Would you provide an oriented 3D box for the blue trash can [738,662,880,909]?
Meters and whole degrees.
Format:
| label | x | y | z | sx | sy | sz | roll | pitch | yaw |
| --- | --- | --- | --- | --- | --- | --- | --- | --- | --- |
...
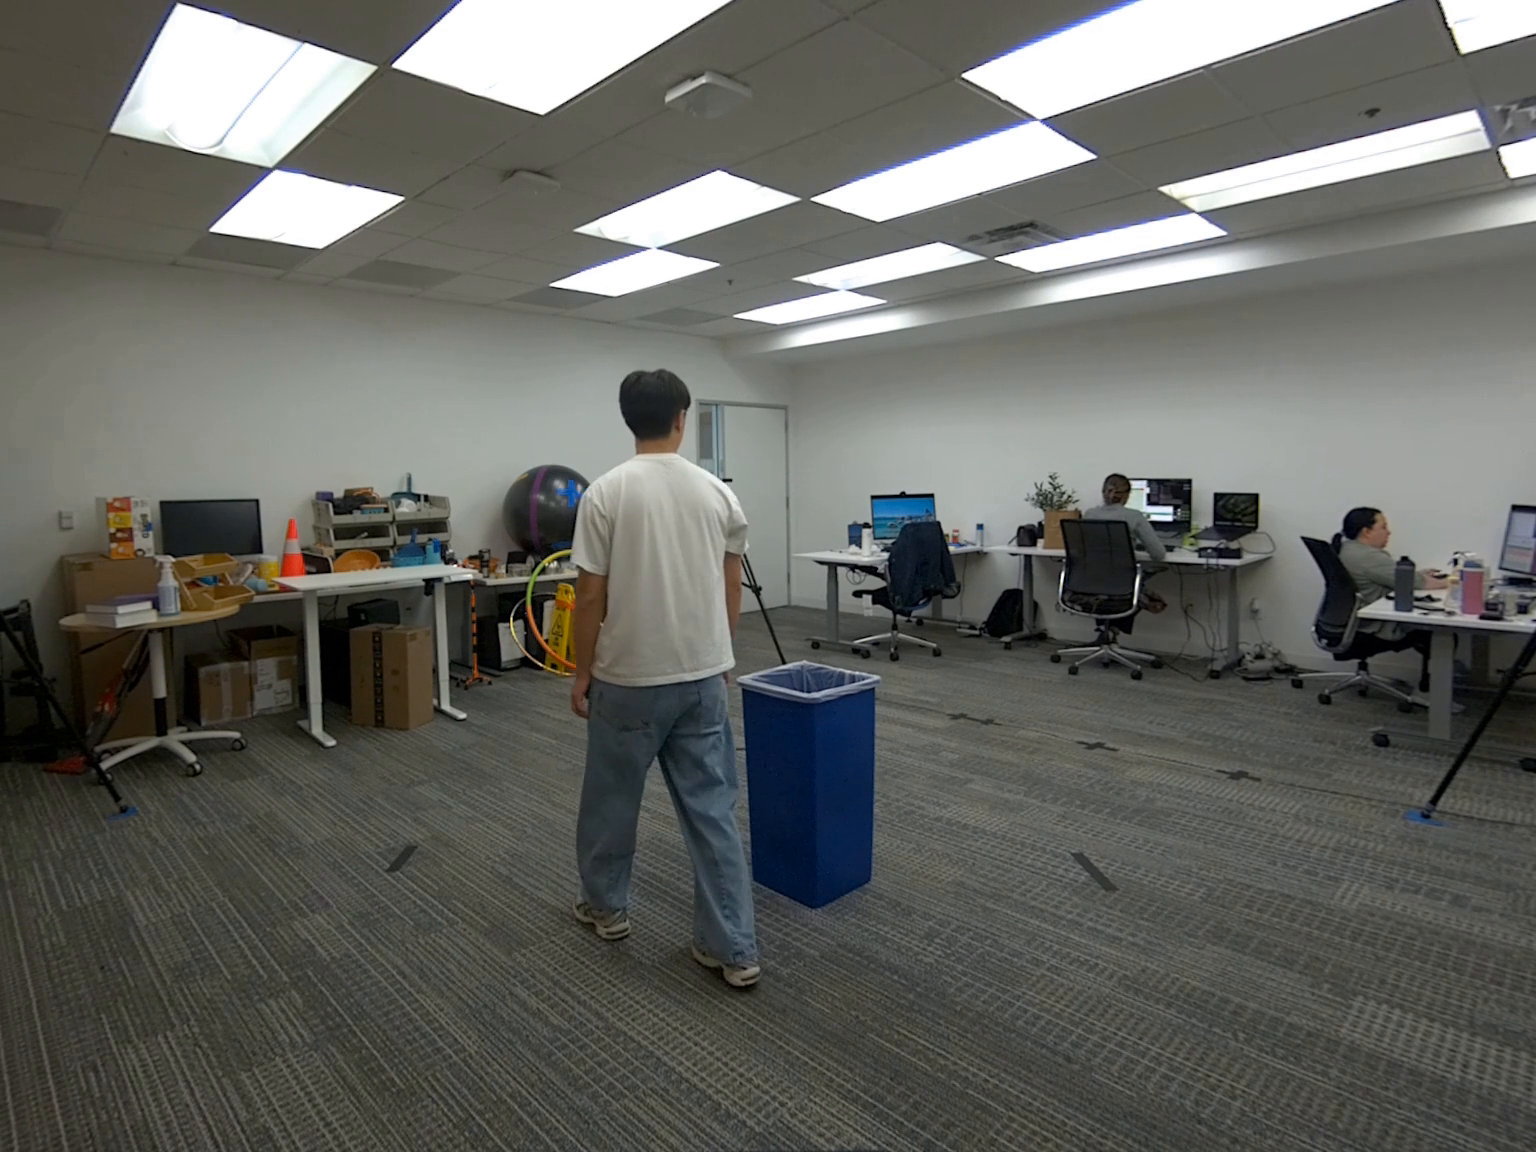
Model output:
| label | x | y | z | sx | sy | sz | roll | pitch | yaw |
| --- | --- | --- | --- | --- | --- | --- | --- | --- | --- |
| blue trash can | 0.147 | 0.702 | 2.943 | 0.364 | 0.711 | 0.389 | -4 | 5 | -44 |
